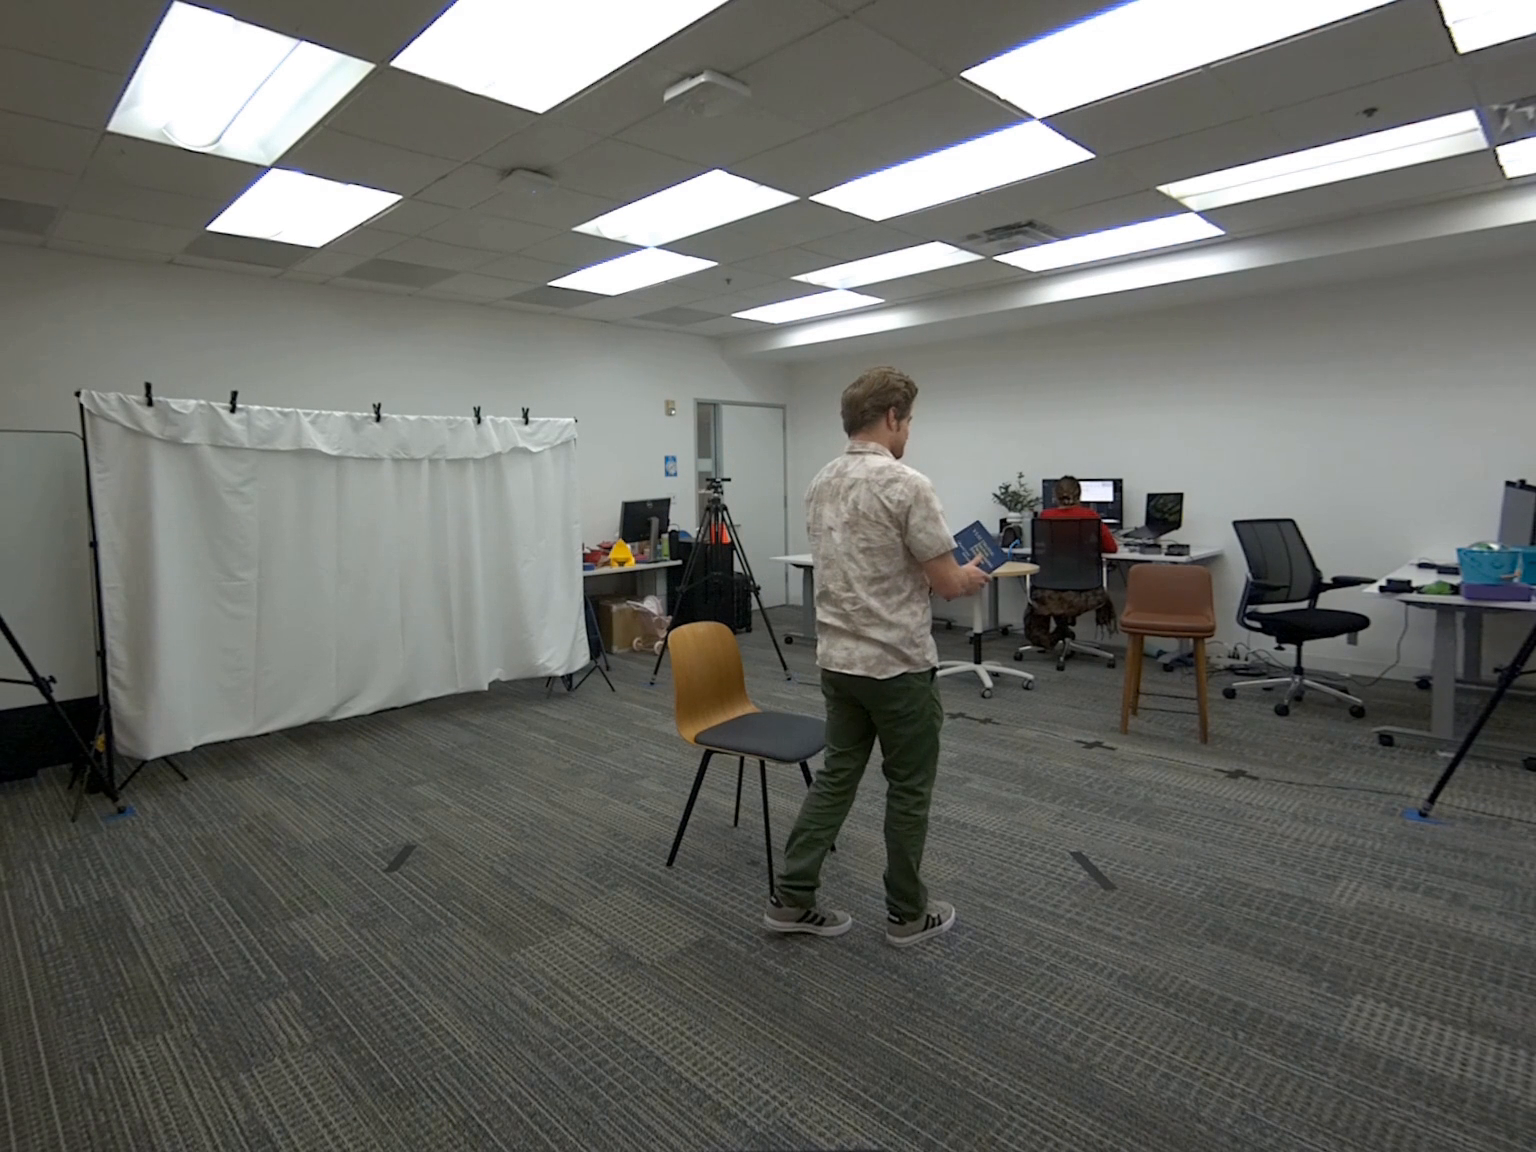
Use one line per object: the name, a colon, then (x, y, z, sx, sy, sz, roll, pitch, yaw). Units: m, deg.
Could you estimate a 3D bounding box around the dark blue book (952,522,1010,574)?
dark blue book: (0.622, -0.052, 2.718, 0.244, 0.166, 0.044, -31, -14, -13)
